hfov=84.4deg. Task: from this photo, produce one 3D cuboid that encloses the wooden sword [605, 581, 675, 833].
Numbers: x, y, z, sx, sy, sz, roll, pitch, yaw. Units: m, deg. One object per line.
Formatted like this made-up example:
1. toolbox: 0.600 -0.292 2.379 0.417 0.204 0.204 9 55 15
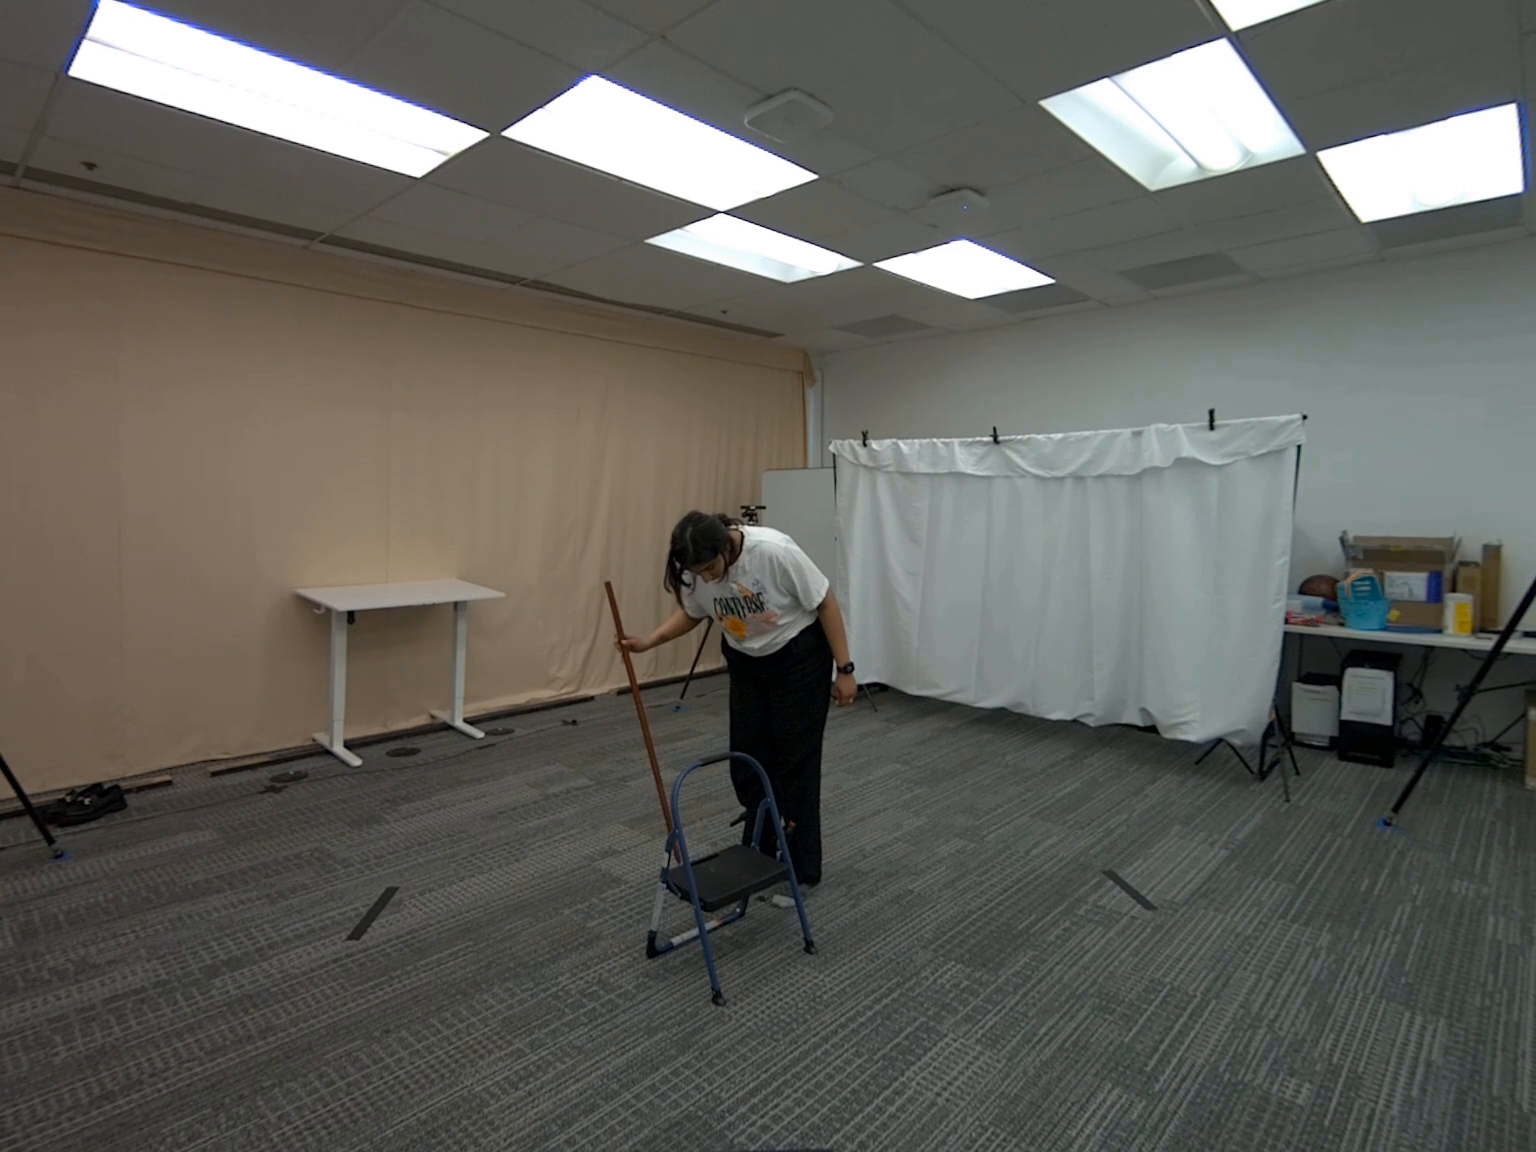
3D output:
1. wooden sword: -0.441 0.520 3.003 0.052 1.025 0.023 -16 -1 33
